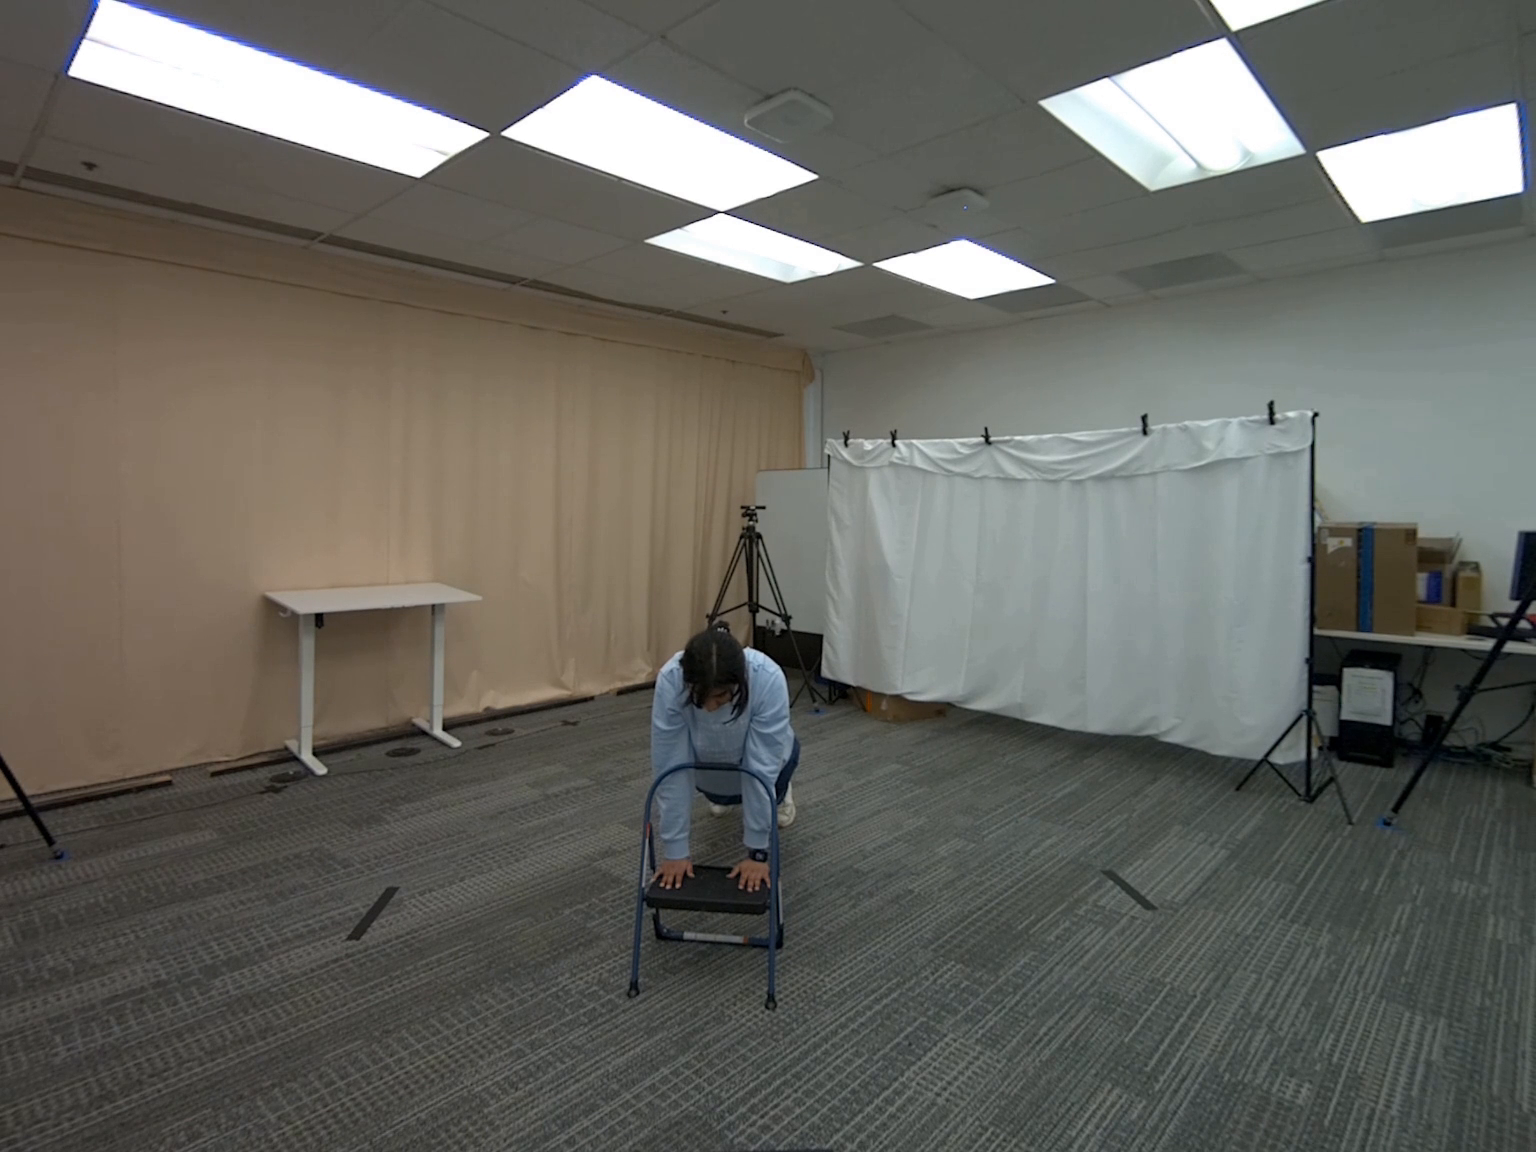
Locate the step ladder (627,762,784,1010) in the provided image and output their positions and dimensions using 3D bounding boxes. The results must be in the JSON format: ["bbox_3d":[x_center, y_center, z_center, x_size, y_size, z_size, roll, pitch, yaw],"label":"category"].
[{"bbox_3d":[-0.171,0.880,2.517,0.434,0.605,0.347,1,3,7],"label":"step ladder"}]
